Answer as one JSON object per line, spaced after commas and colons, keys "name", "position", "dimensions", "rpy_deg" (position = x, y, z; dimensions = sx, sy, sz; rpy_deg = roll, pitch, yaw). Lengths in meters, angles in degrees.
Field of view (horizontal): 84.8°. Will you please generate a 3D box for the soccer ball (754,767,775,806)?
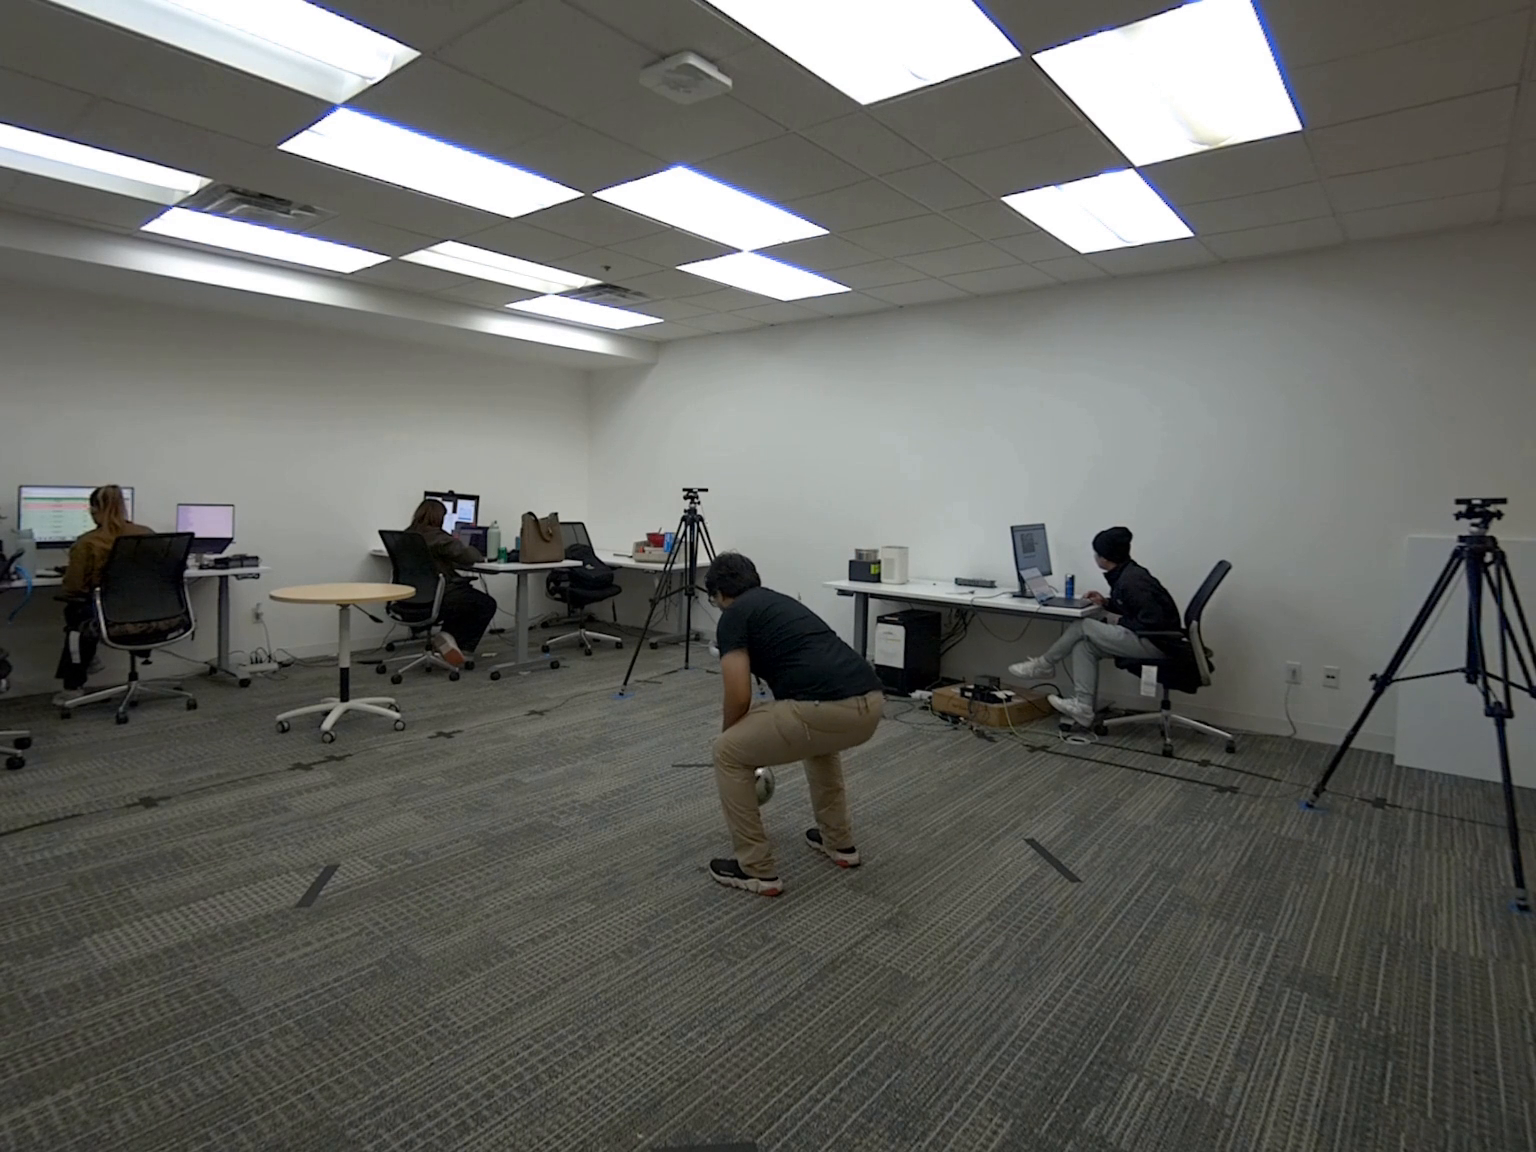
{"name": "soccer ball", "position": [-0.067, 0.812, 3.432], "dimensions": [0.187, 0.187, 0.188], "rpy_deg": [1, 4, -2]}
